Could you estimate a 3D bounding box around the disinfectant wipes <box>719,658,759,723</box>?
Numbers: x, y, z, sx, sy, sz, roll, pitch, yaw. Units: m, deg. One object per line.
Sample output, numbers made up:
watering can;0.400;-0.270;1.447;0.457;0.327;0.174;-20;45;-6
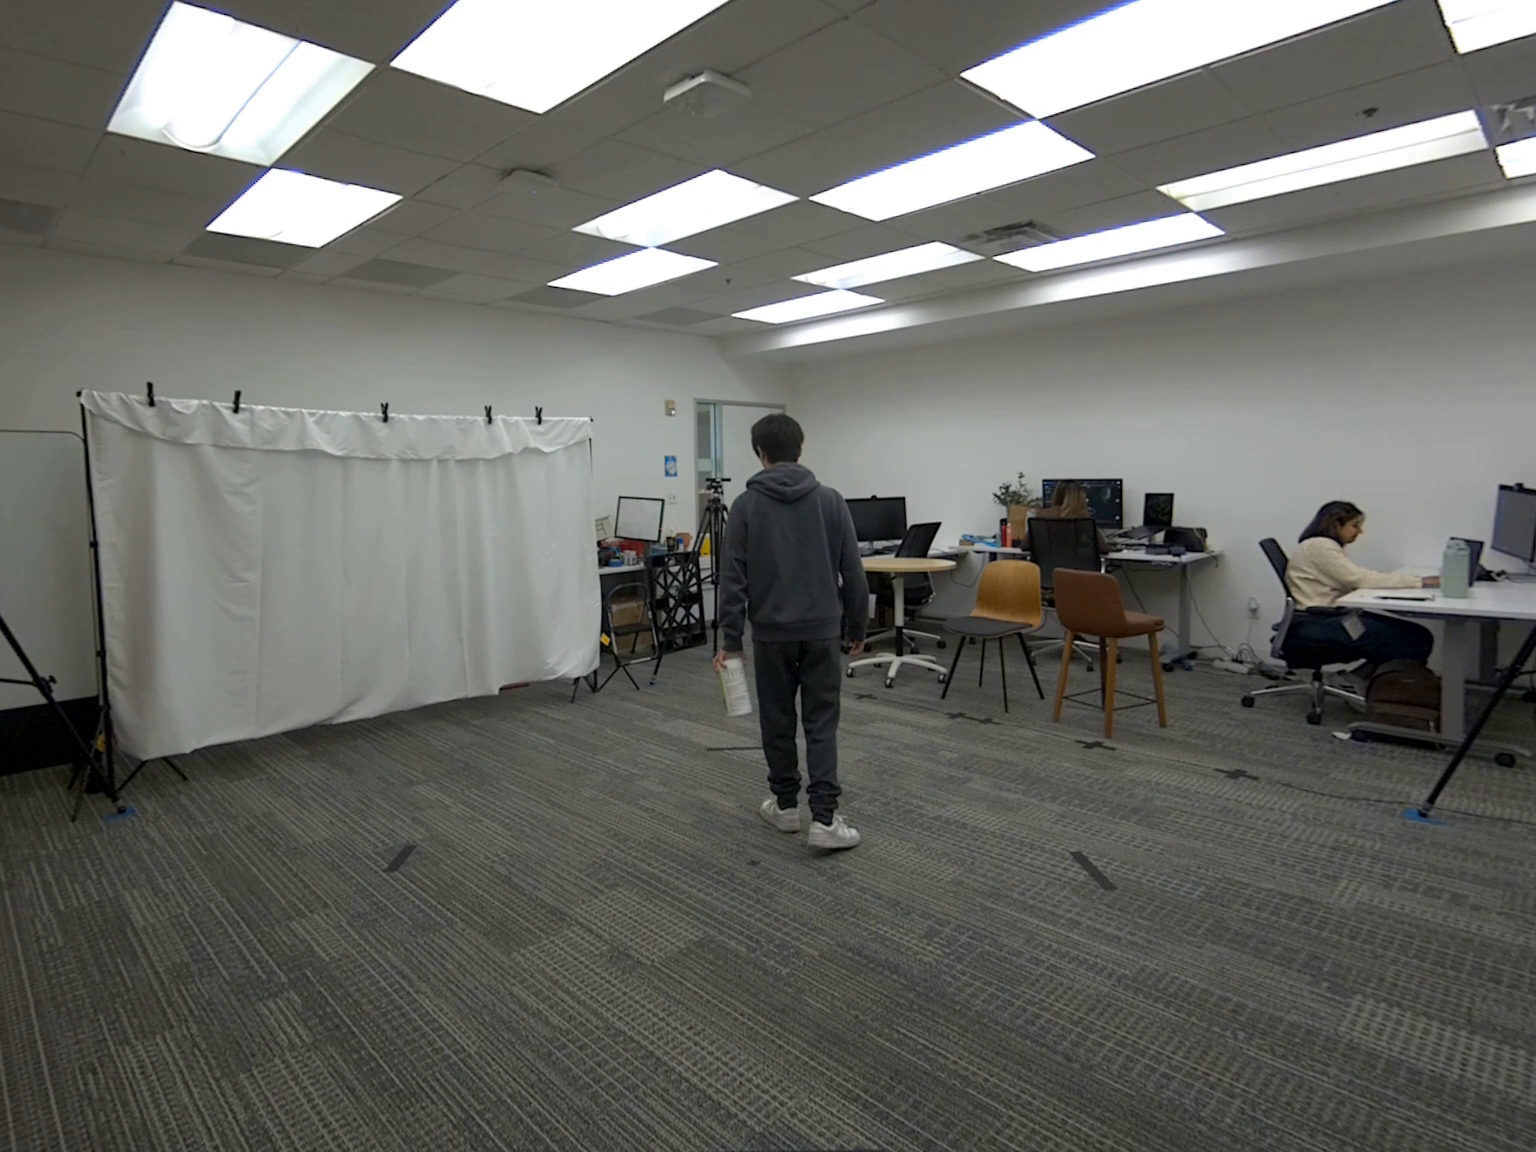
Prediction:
disinfectant wipes;-0.113;0.439;3.326;0.117;0.219;0.117;-11;-5;-3
